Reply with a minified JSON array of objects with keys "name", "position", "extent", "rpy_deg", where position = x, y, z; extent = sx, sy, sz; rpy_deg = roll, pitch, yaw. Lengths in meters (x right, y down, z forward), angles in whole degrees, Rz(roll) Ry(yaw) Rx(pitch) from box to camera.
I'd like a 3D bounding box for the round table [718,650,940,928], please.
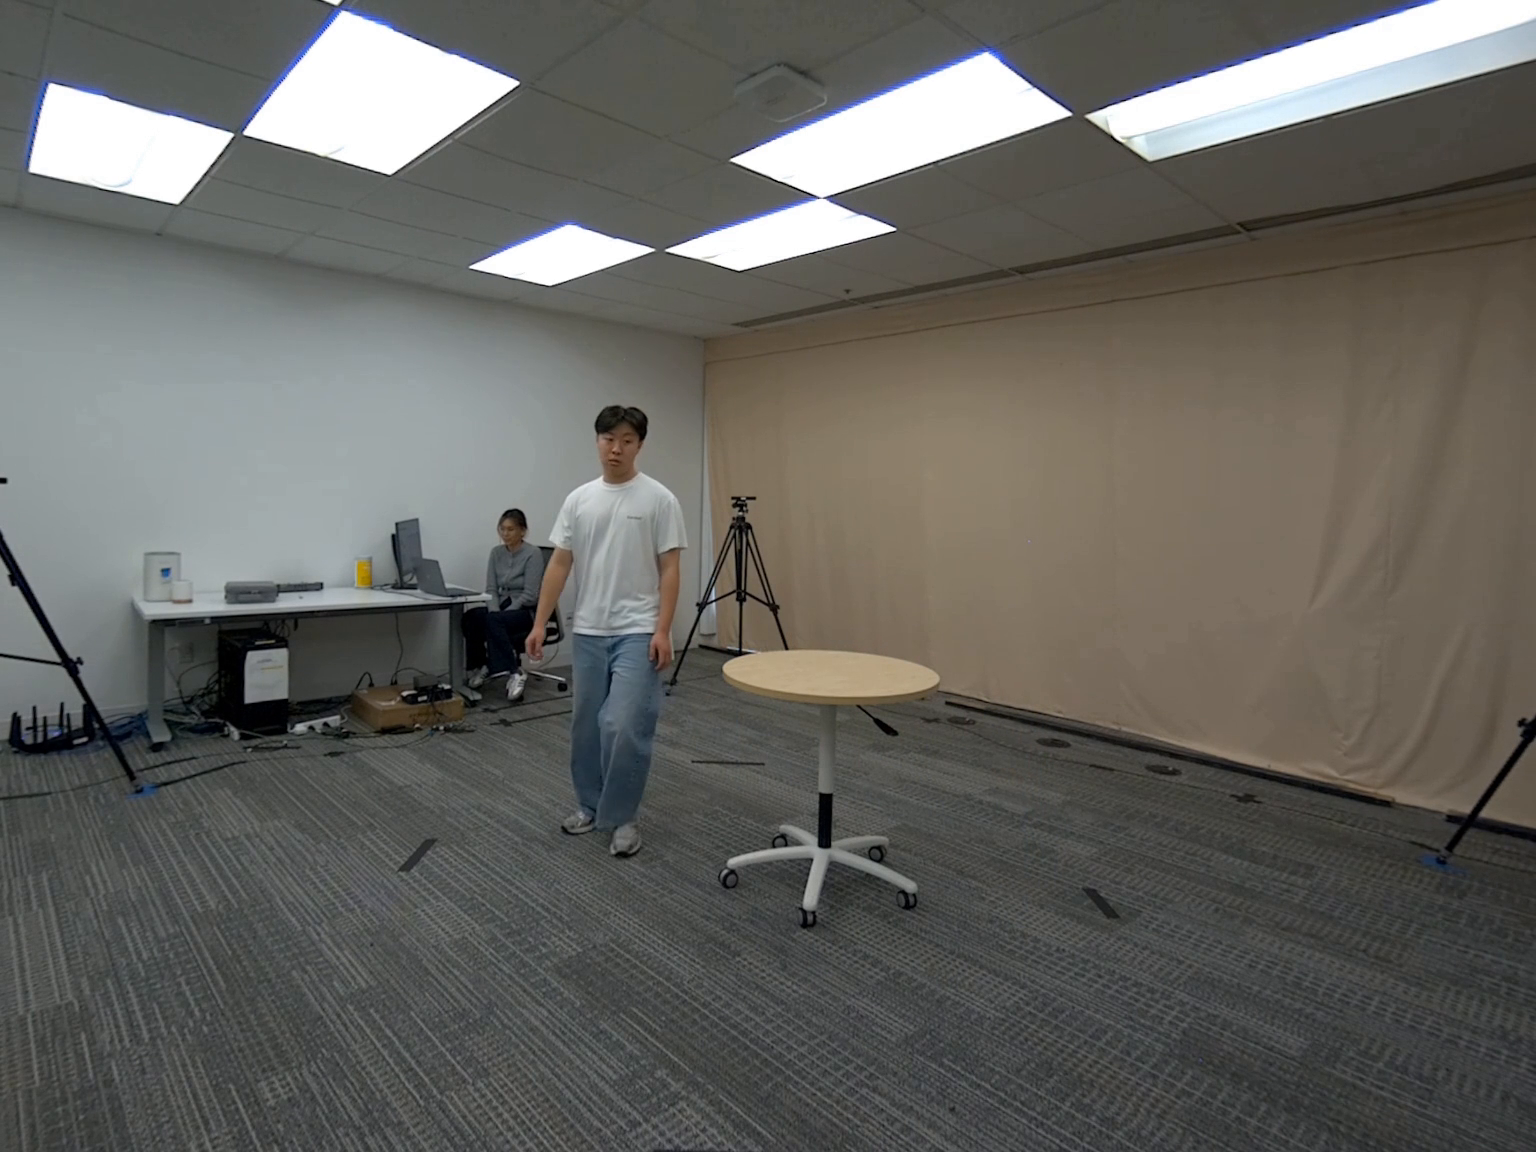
[{"name":"round table","position":[0.202,0.732,3.025],"extent":[0.763,0.792,0.767],"rpy_deg":[1,4,-1]}]
